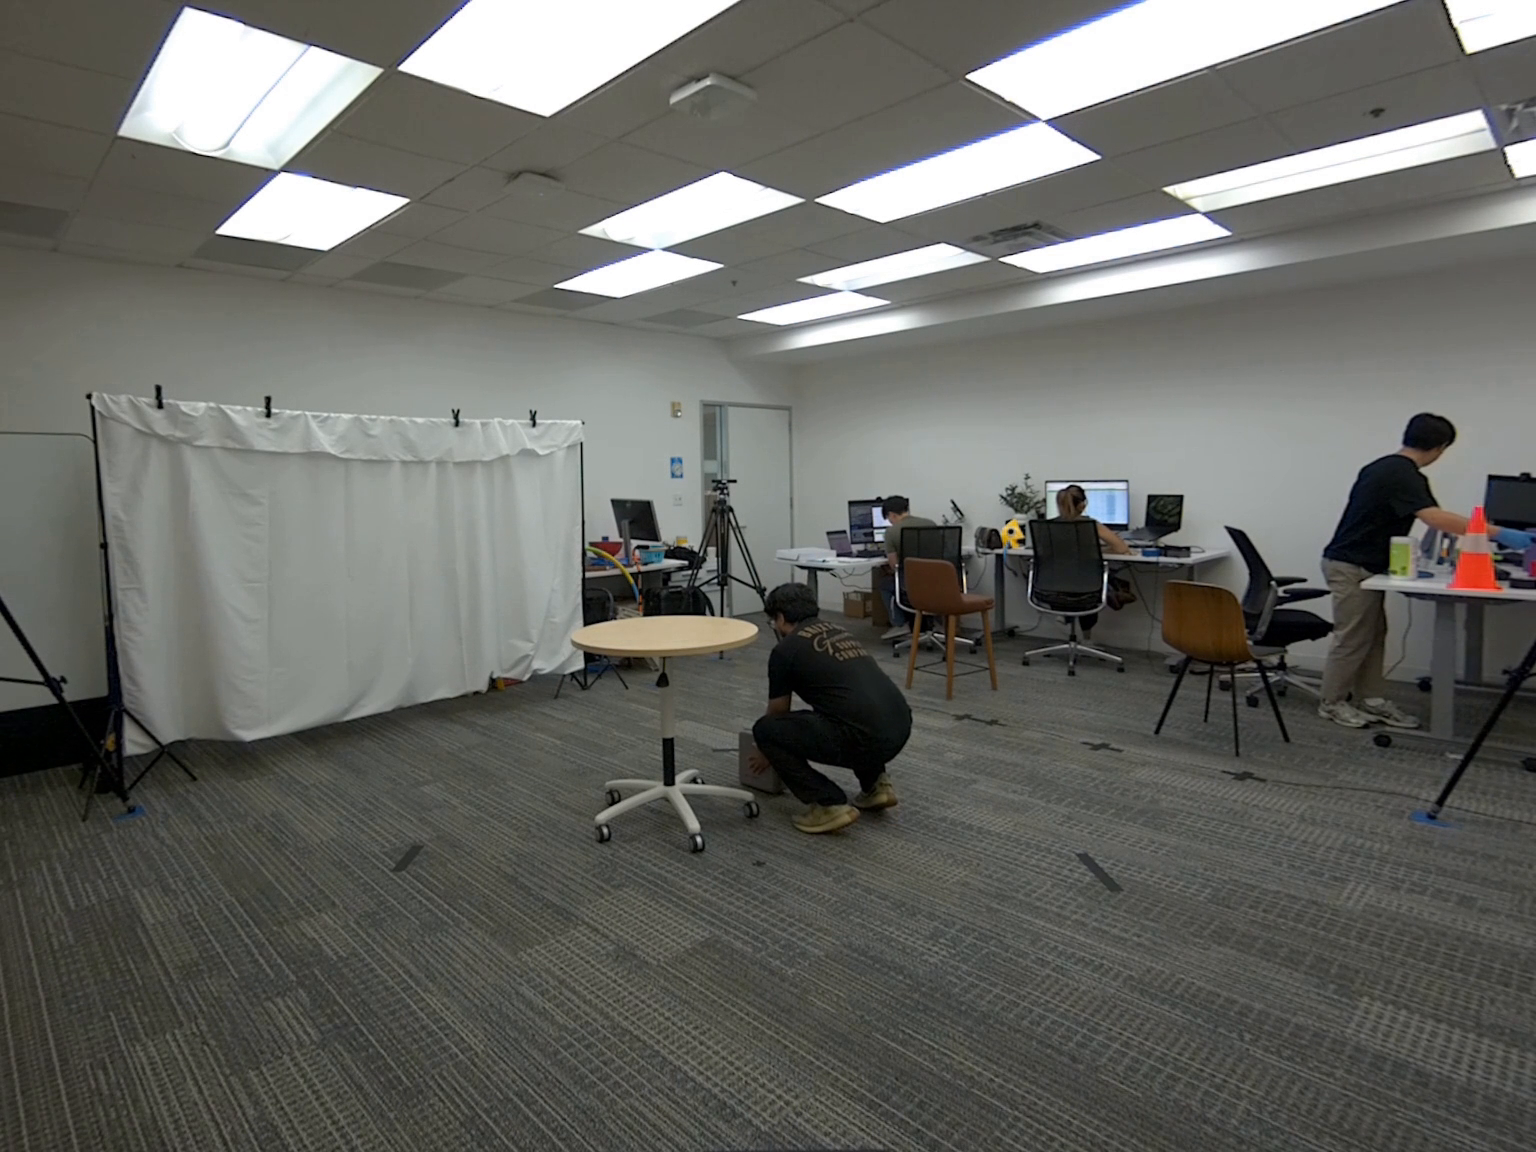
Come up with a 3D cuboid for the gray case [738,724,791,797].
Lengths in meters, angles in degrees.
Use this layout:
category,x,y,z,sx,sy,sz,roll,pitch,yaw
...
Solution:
category,x,y,z,sx,sy,sz,roll,pitch,yaw
gray case,-0.012,0.830,3.888,0.101,0.261,0.264,1,-1,-40
